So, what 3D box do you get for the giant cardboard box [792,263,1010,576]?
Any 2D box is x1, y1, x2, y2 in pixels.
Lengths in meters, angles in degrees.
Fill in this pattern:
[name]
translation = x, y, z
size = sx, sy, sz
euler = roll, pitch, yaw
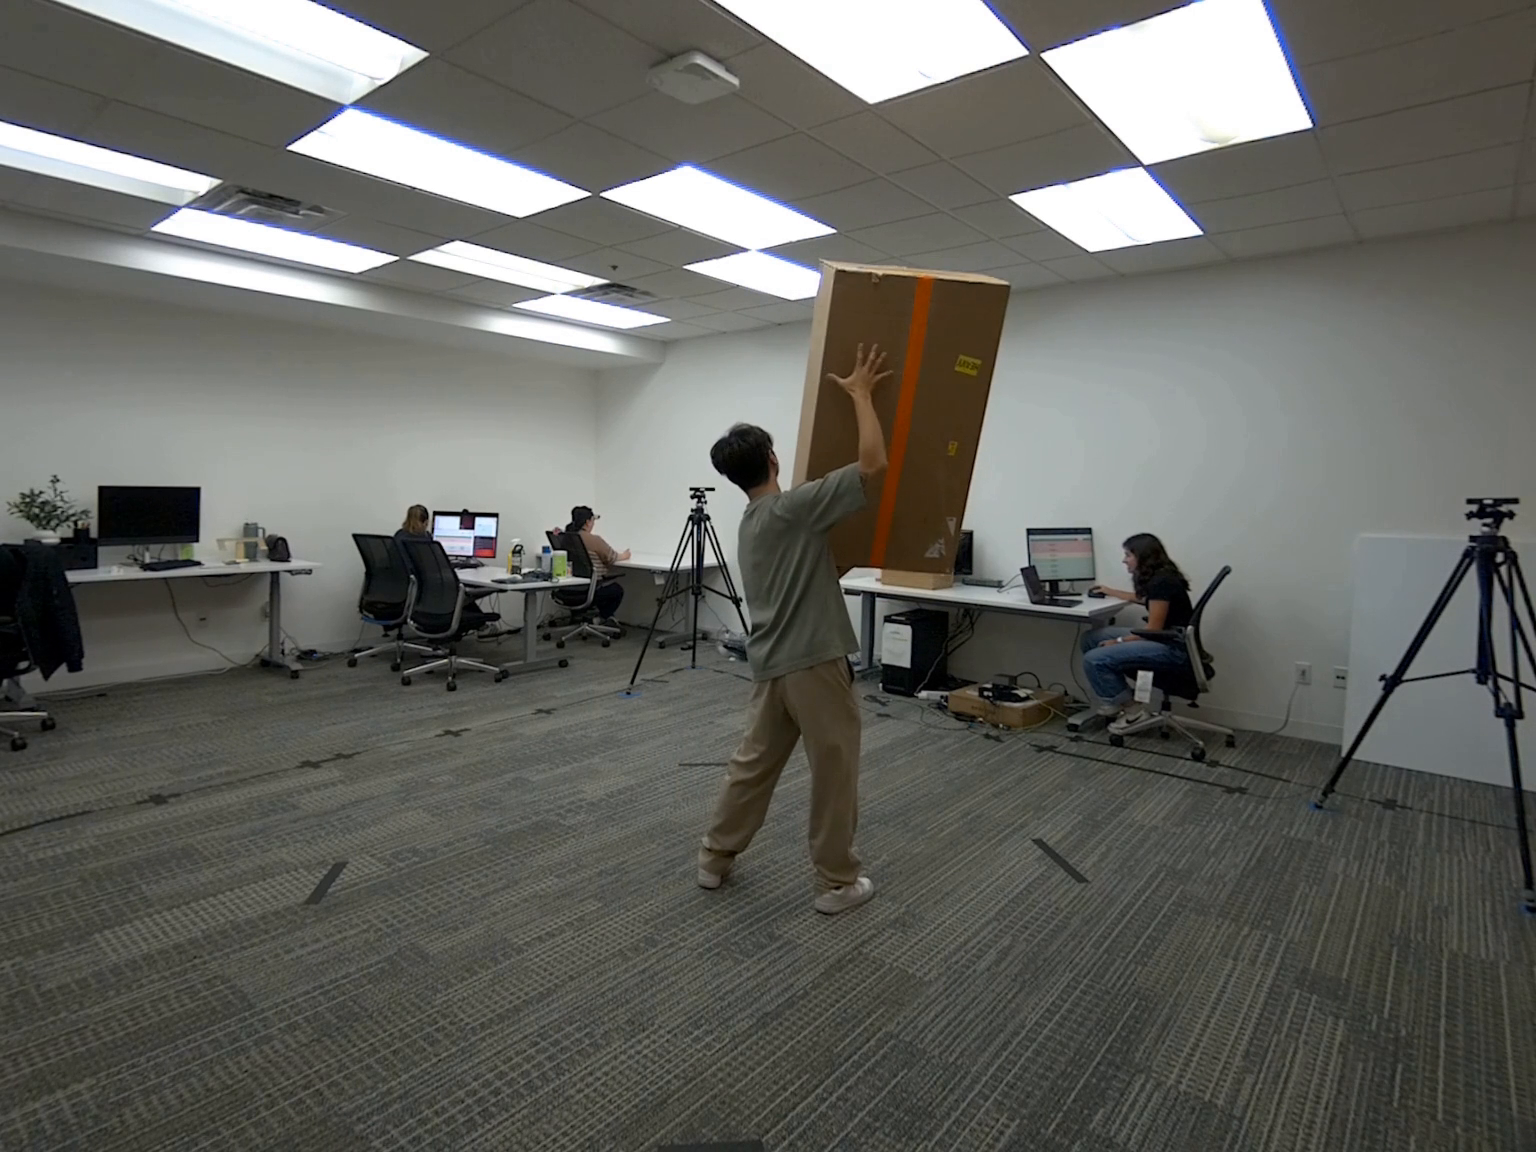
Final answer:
[giant cardboard box]
translation = 0.426, -0.565, 3.079
size = 0.575, 1.008, 0.435
euler = 5, 22, -4
